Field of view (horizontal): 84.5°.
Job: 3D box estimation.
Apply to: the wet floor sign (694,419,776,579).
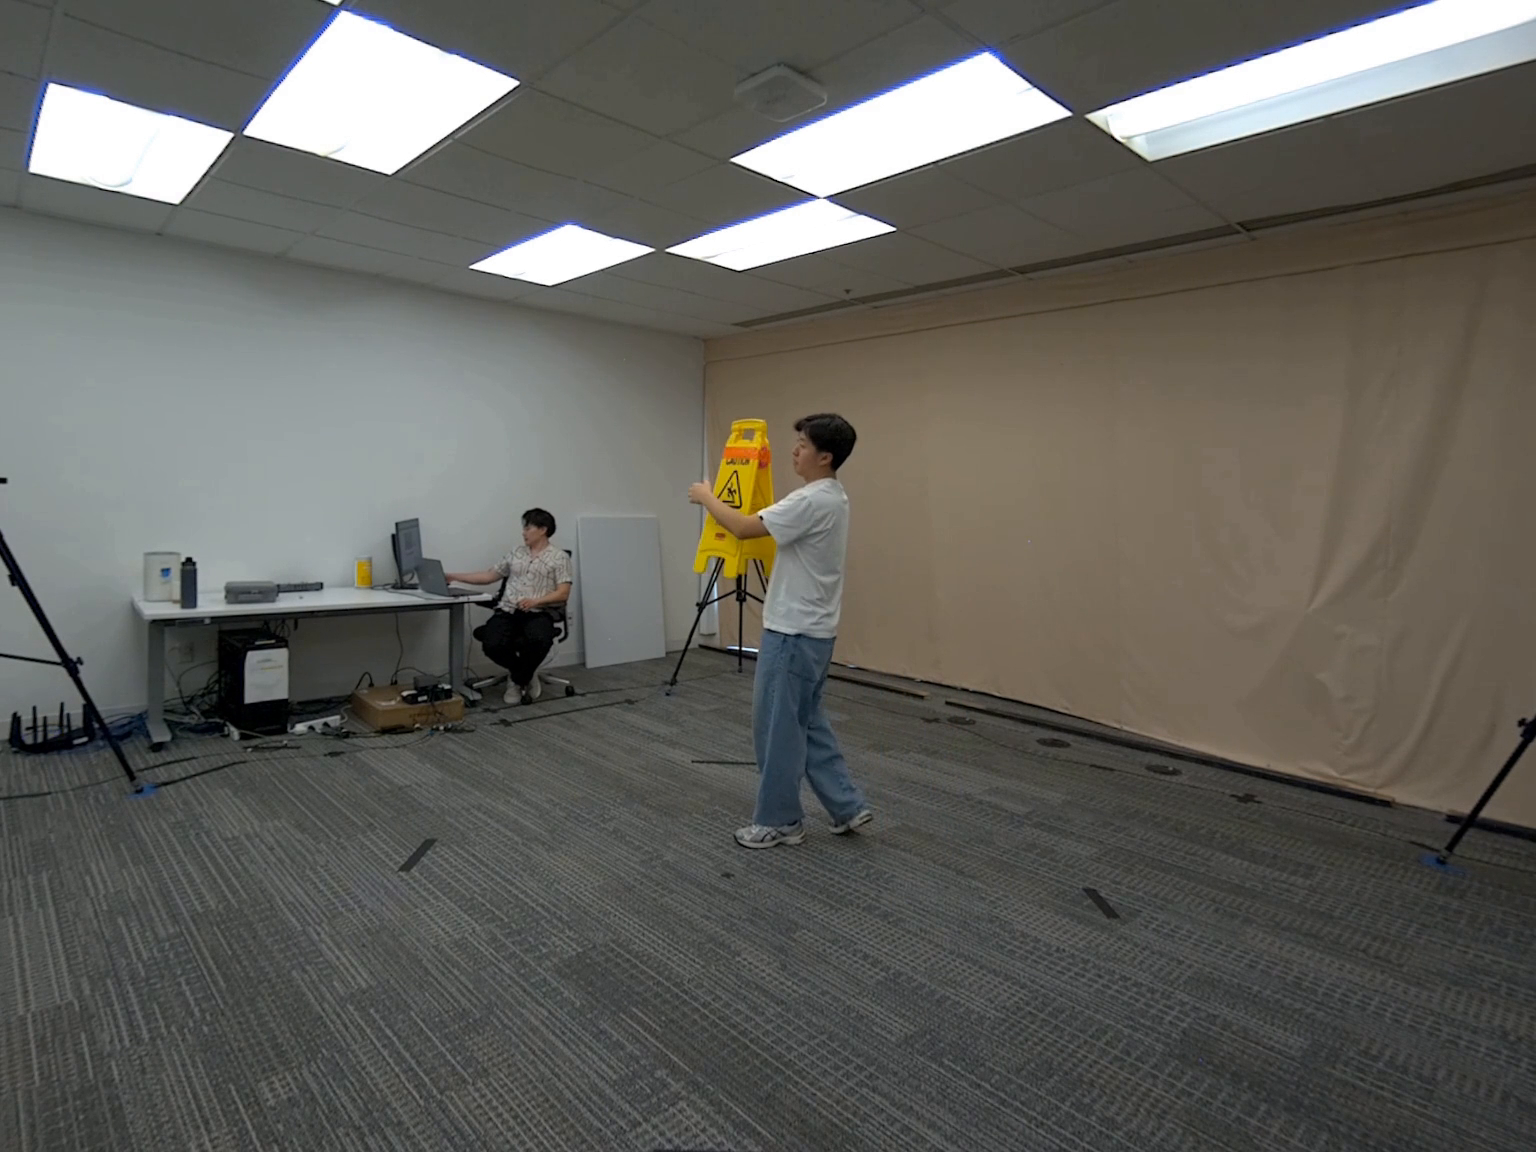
[{"bbox_3d":[-0.114,-0.325,3.517,0.282,0.645,0.289,3,3,-41],"label":"wet floor sign"}]
